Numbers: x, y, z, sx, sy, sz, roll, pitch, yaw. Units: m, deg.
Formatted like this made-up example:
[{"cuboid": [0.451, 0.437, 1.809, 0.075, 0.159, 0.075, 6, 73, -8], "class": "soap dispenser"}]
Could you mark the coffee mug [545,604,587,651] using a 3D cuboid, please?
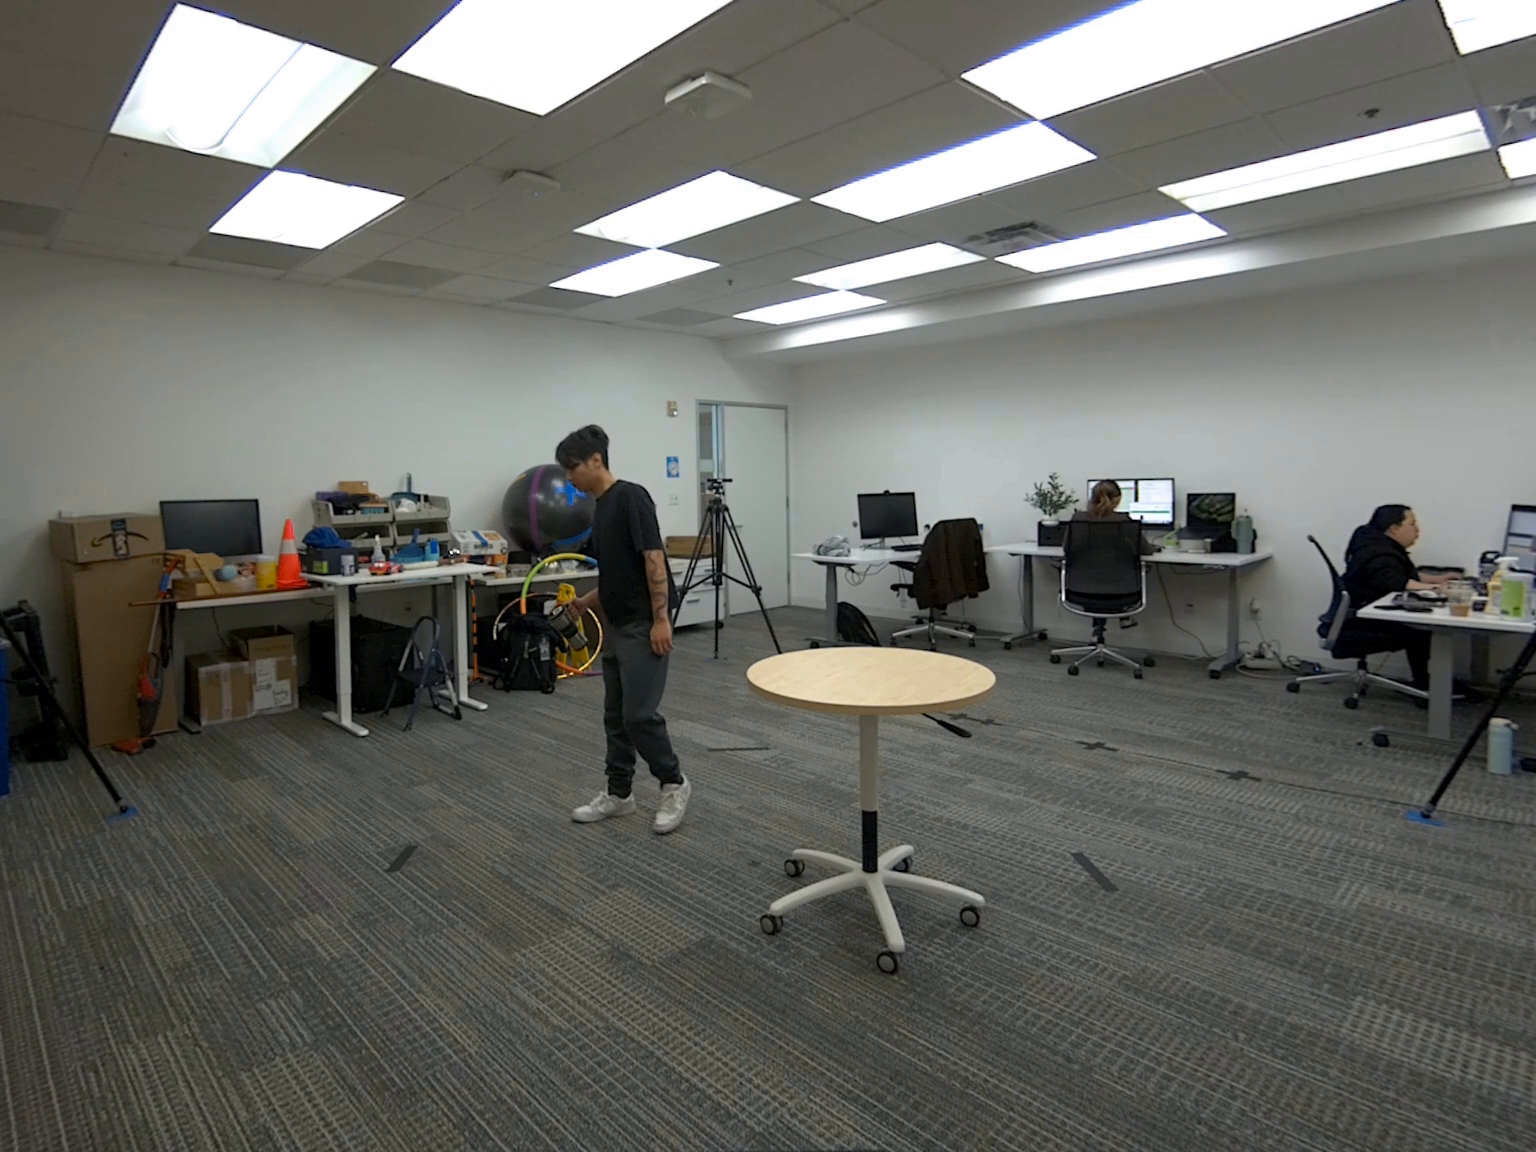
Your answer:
[{"cuboid": [-0.820, 0.218, 3.603, 0.124, 0.198, 0.089, -17, 26, 31], "class": "coffee mug"}]
